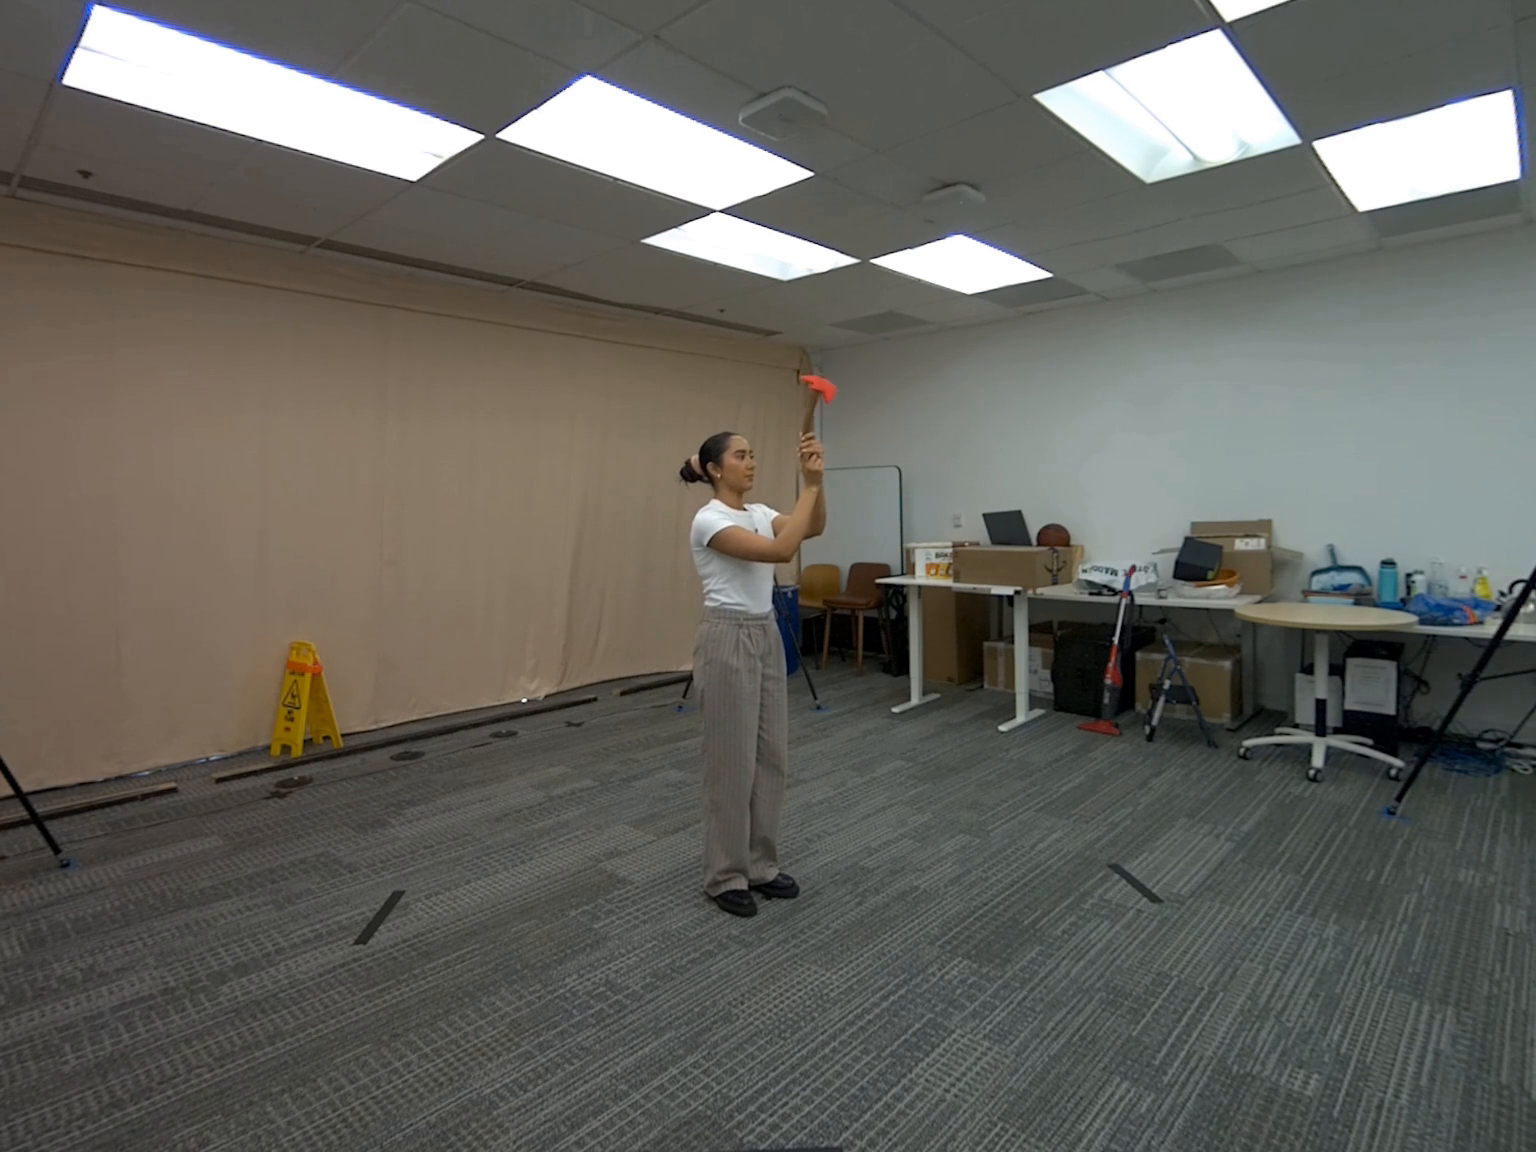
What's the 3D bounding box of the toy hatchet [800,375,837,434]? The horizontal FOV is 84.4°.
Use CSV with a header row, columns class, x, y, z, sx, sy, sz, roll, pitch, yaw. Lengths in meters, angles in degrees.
class,x,y,z,sx,sy,sz,roll,pitch,yaw
toy hatchet,0.170,-0.519,2.729,0.128,0.269,0.030,-4,7,-19
